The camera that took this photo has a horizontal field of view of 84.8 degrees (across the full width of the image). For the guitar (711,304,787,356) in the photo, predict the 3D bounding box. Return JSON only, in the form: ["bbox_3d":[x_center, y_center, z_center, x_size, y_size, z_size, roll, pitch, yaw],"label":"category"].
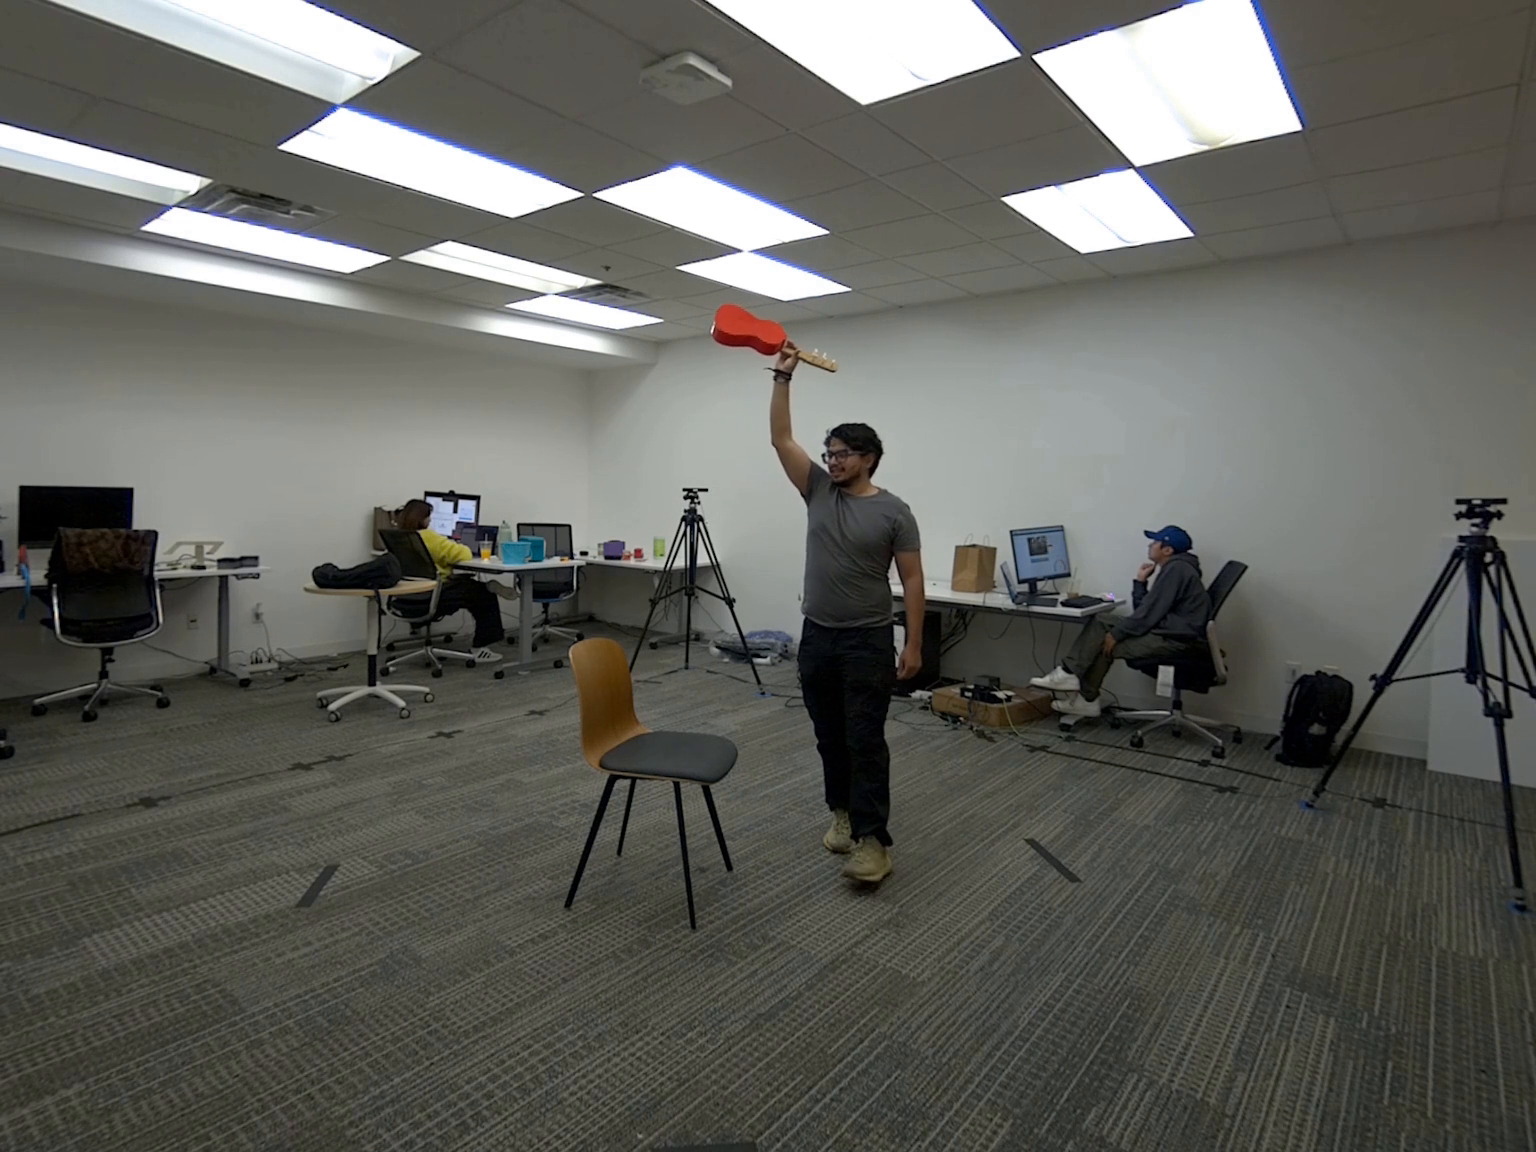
[{"bbox_3d":[0.026,-0.906,3.209,0.491,0.198,0.070,11,-43,-11],"label":"guitar"}]
